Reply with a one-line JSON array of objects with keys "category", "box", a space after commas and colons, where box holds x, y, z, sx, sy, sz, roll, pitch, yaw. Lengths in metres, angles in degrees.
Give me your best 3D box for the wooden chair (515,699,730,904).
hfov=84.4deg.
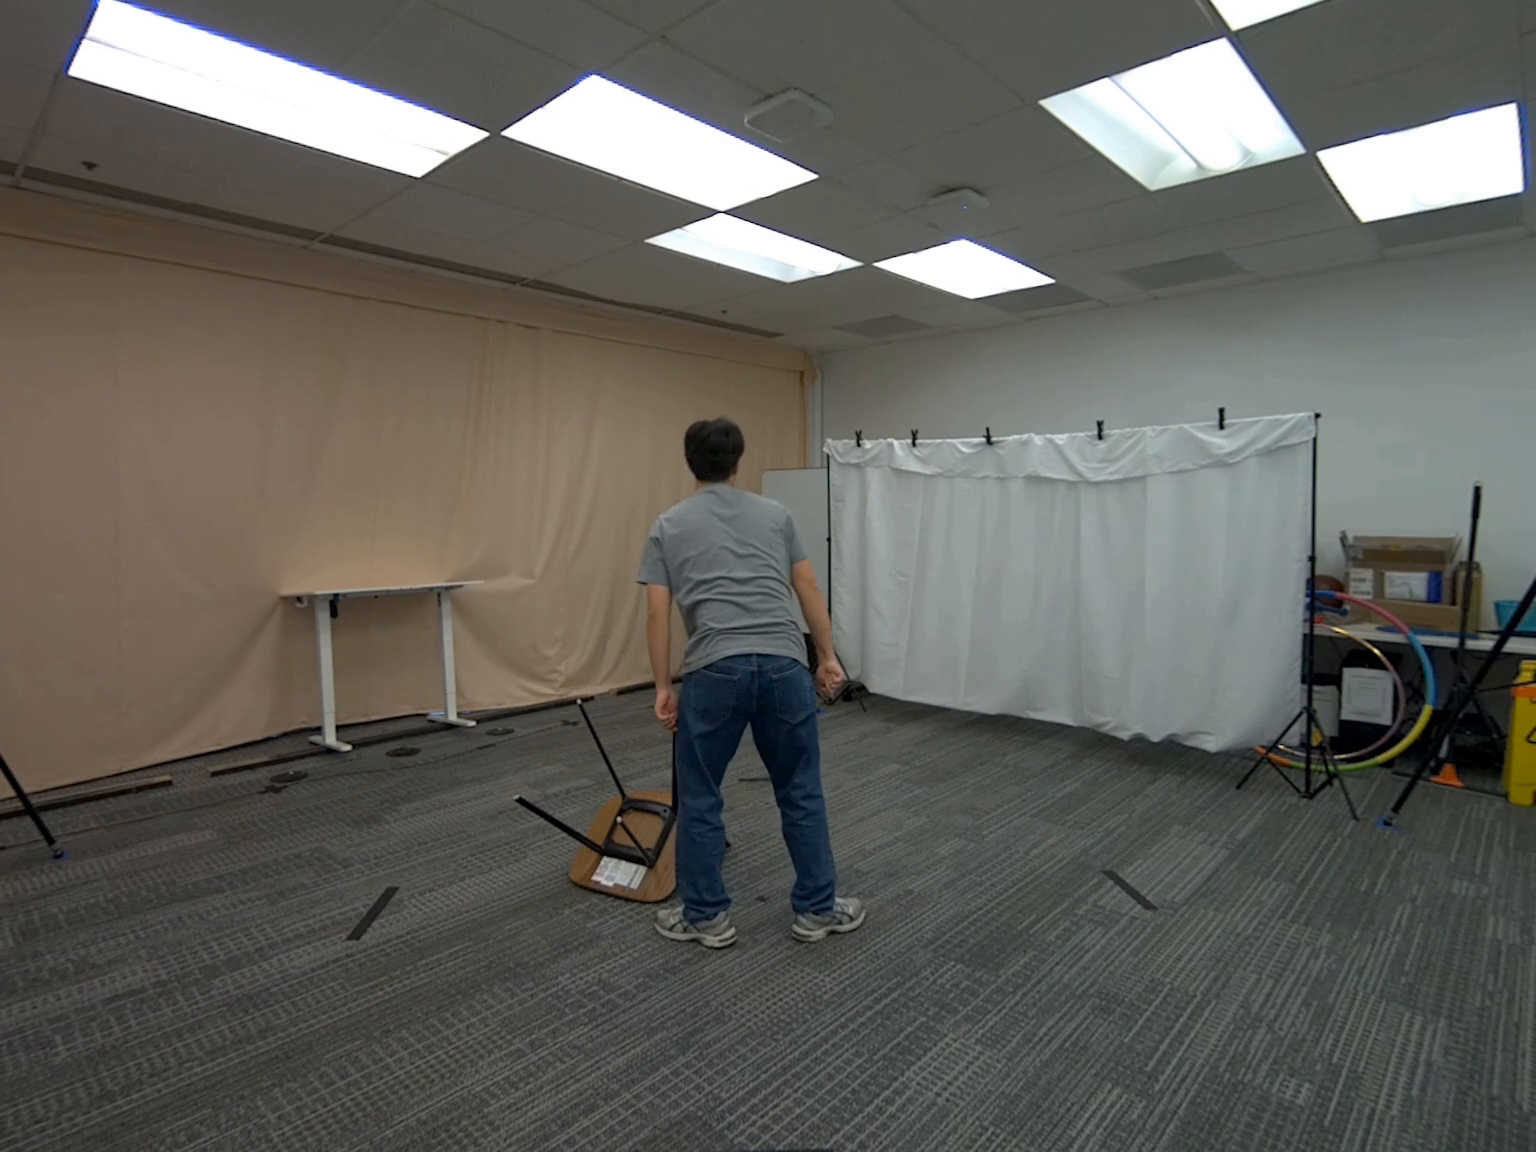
[{"category": "wooden chair", "box": [-0.496, 0.961, 3.178, 0.491, 0.852, 0.524, 2, 44, 26]}]
